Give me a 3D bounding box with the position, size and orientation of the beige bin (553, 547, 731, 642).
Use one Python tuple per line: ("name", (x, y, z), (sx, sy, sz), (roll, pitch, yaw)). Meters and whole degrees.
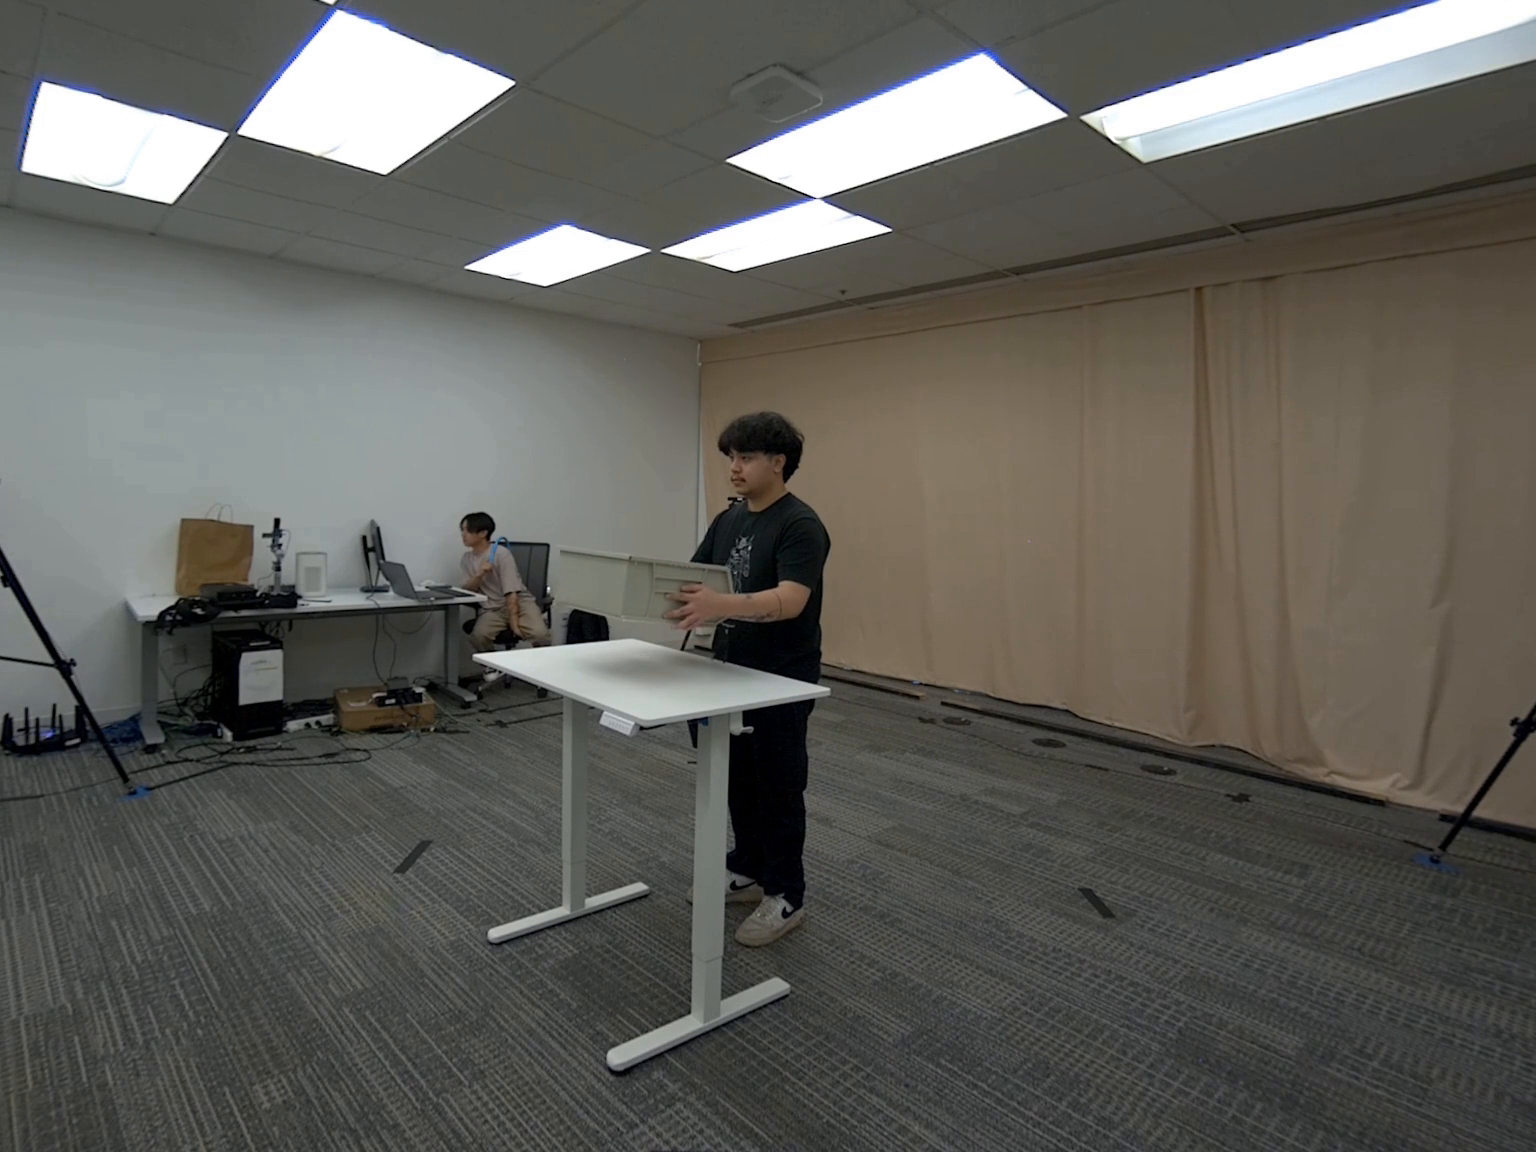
("beige bin", (-0.374, 0.039, 2.482), (0.368, 0.189, 0.433), (5, 1, -40))
